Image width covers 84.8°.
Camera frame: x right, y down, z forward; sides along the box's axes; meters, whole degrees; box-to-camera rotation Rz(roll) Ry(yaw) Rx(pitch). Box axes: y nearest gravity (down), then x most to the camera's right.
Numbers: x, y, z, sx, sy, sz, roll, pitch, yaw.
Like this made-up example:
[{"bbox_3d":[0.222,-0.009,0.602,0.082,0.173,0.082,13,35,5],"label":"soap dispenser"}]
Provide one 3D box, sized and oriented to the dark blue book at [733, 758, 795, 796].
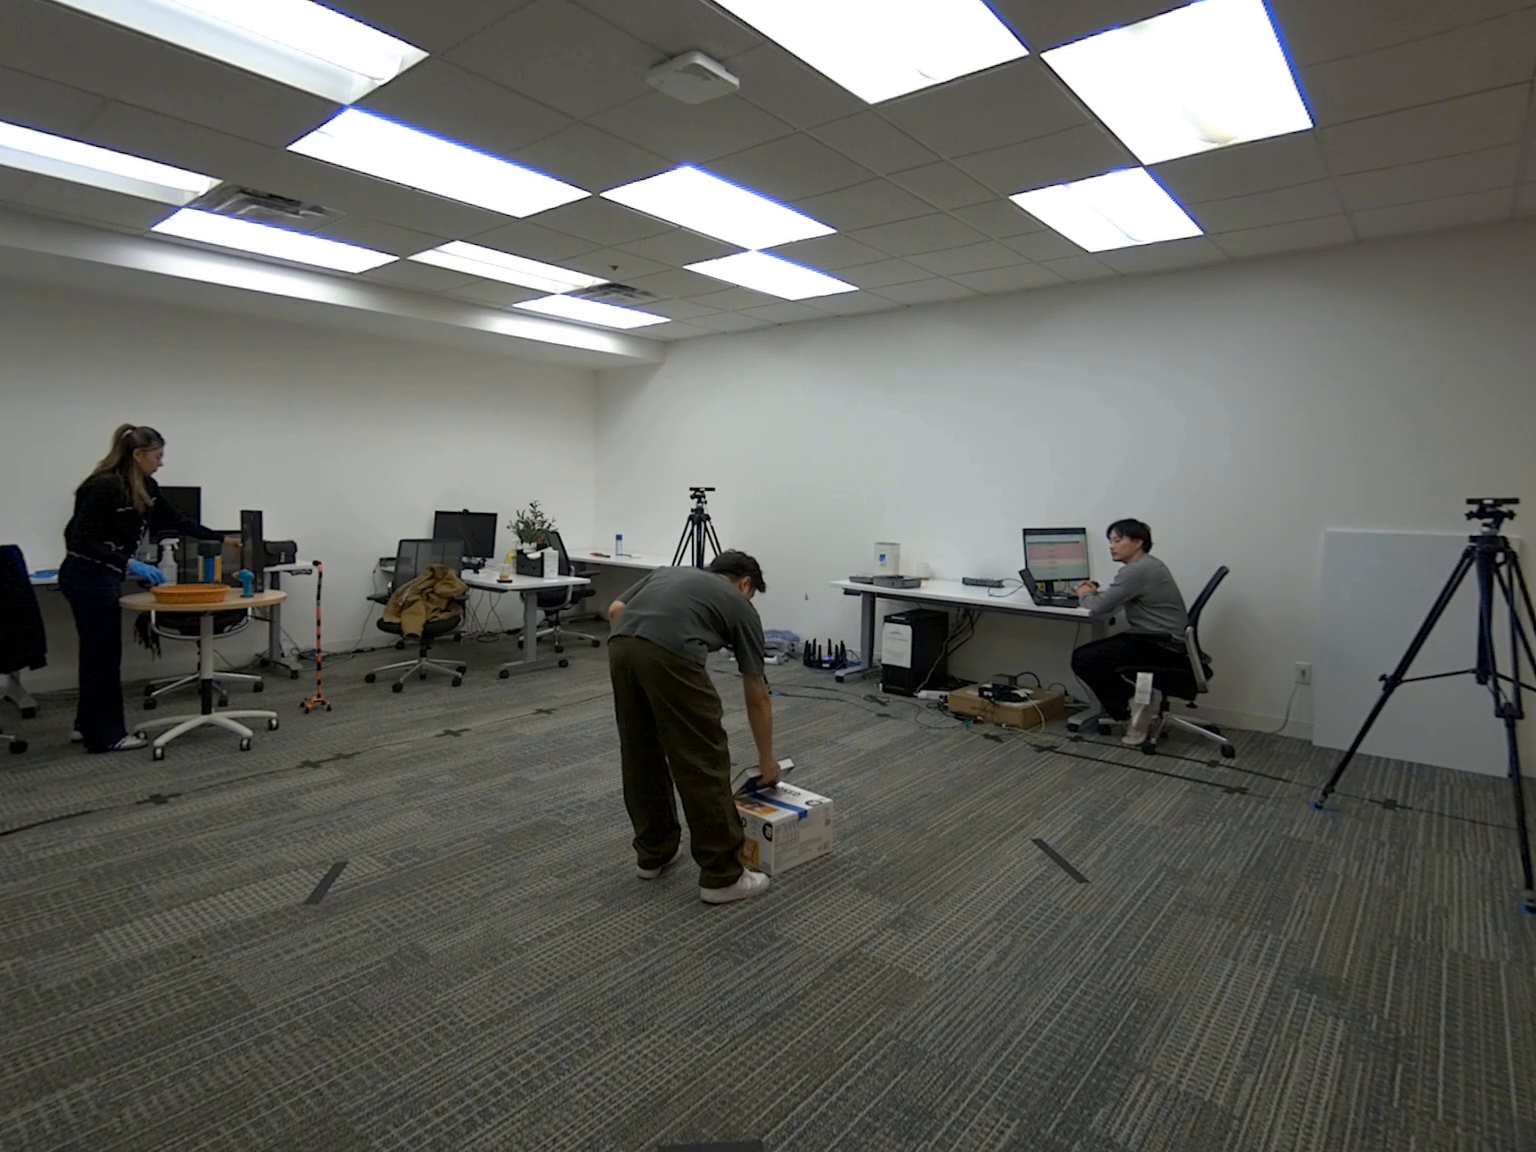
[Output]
[{"bbox_3d":[-0.034,0.781,3.314,0.238,0.047,0.162,-5,-37,-40],"label":"dark blue book"}]
